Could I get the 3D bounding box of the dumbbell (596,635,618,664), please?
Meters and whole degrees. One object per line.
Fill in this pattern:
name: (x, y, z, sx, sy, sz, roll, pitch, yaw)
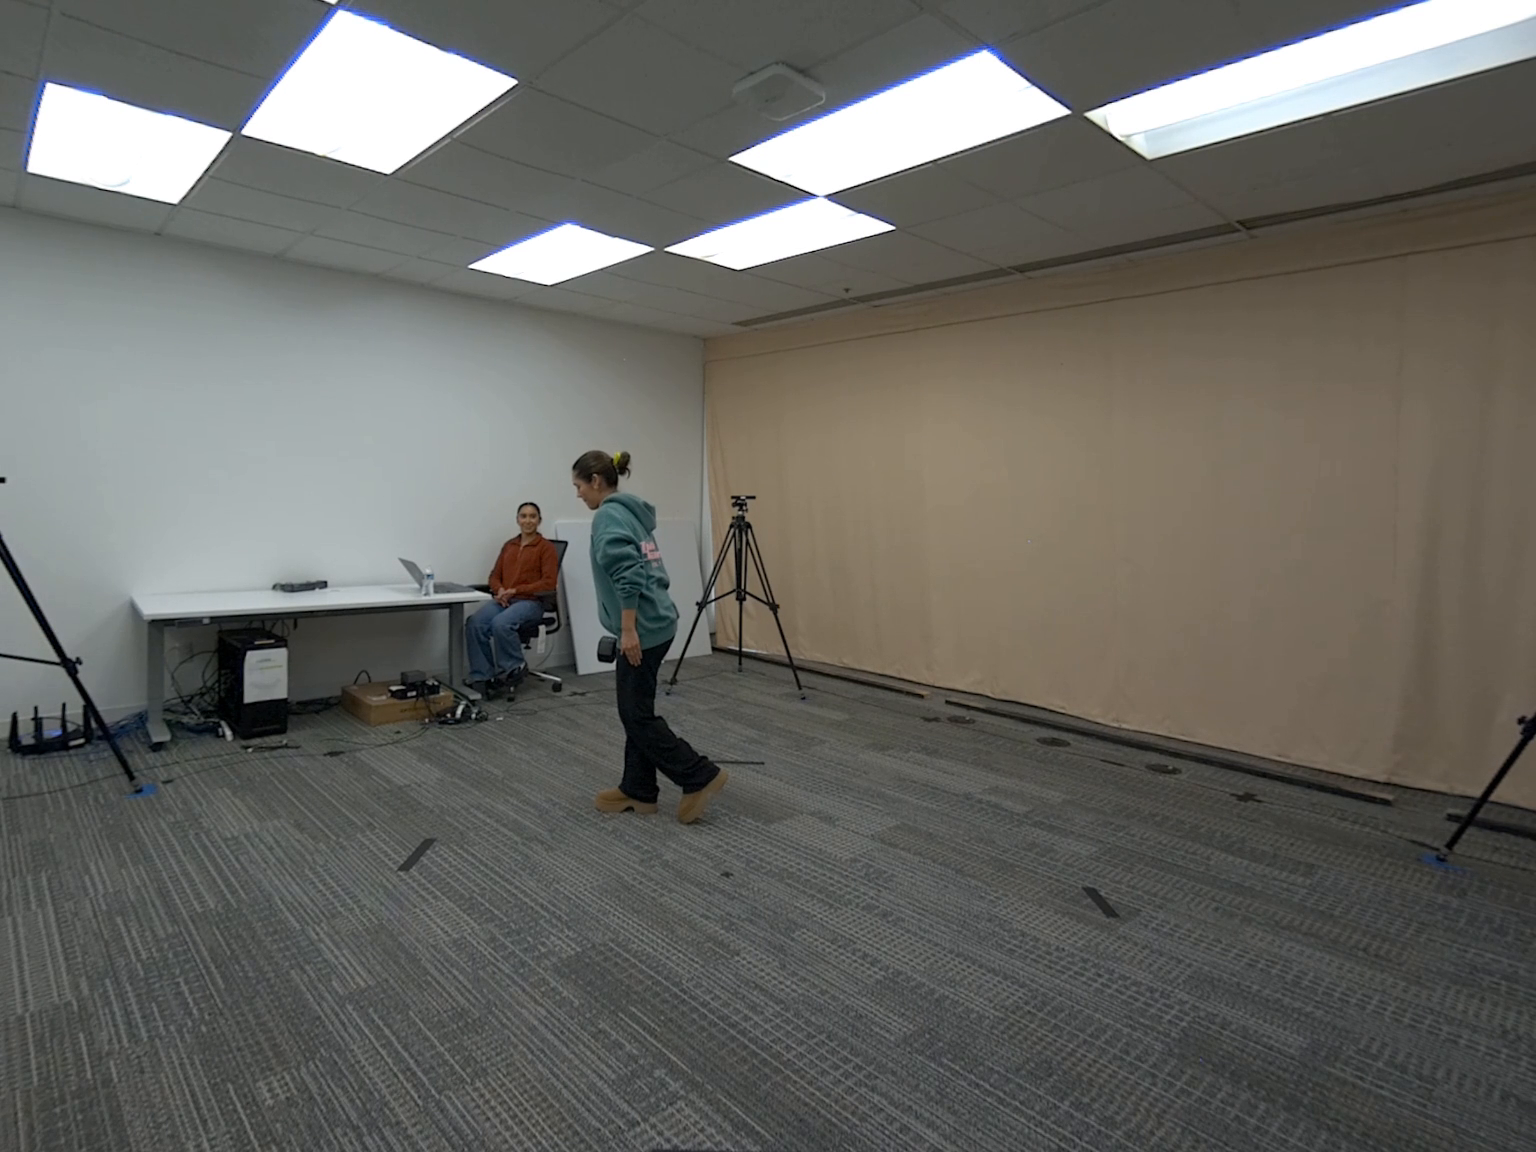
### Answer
dumbbell: (-0.645, 0.351, 3.869, 0.294, 0.124, 0.107, 8, -14, 3)
